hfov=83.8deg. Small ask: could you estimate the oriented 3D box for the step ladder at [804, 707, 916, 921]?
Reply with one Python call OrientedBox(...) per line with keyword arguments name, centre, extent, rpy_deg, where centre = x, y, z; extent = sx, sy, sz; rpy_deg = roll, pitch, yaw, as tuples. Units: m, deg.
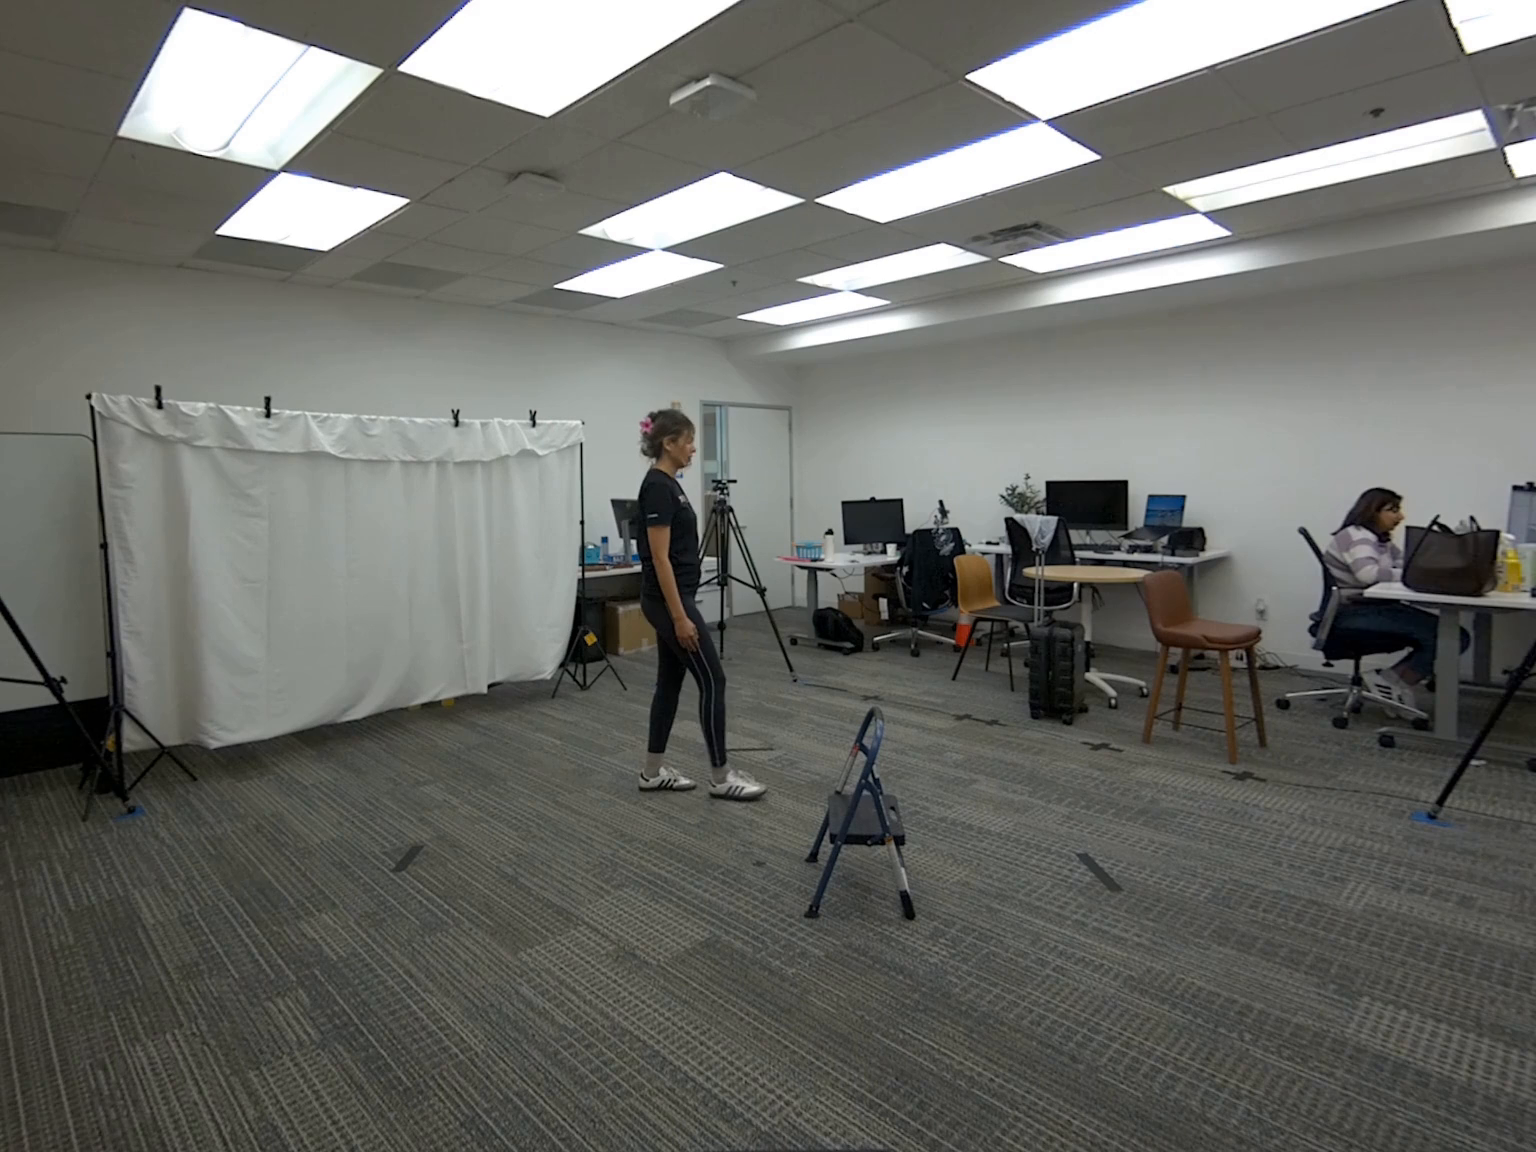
OrientedBox(name="step ladder", centre=(0.303, 0.764, 2.893), extent=(0.351, 0.604, 0.430), rpy_deg=(-1, 4, 3))
